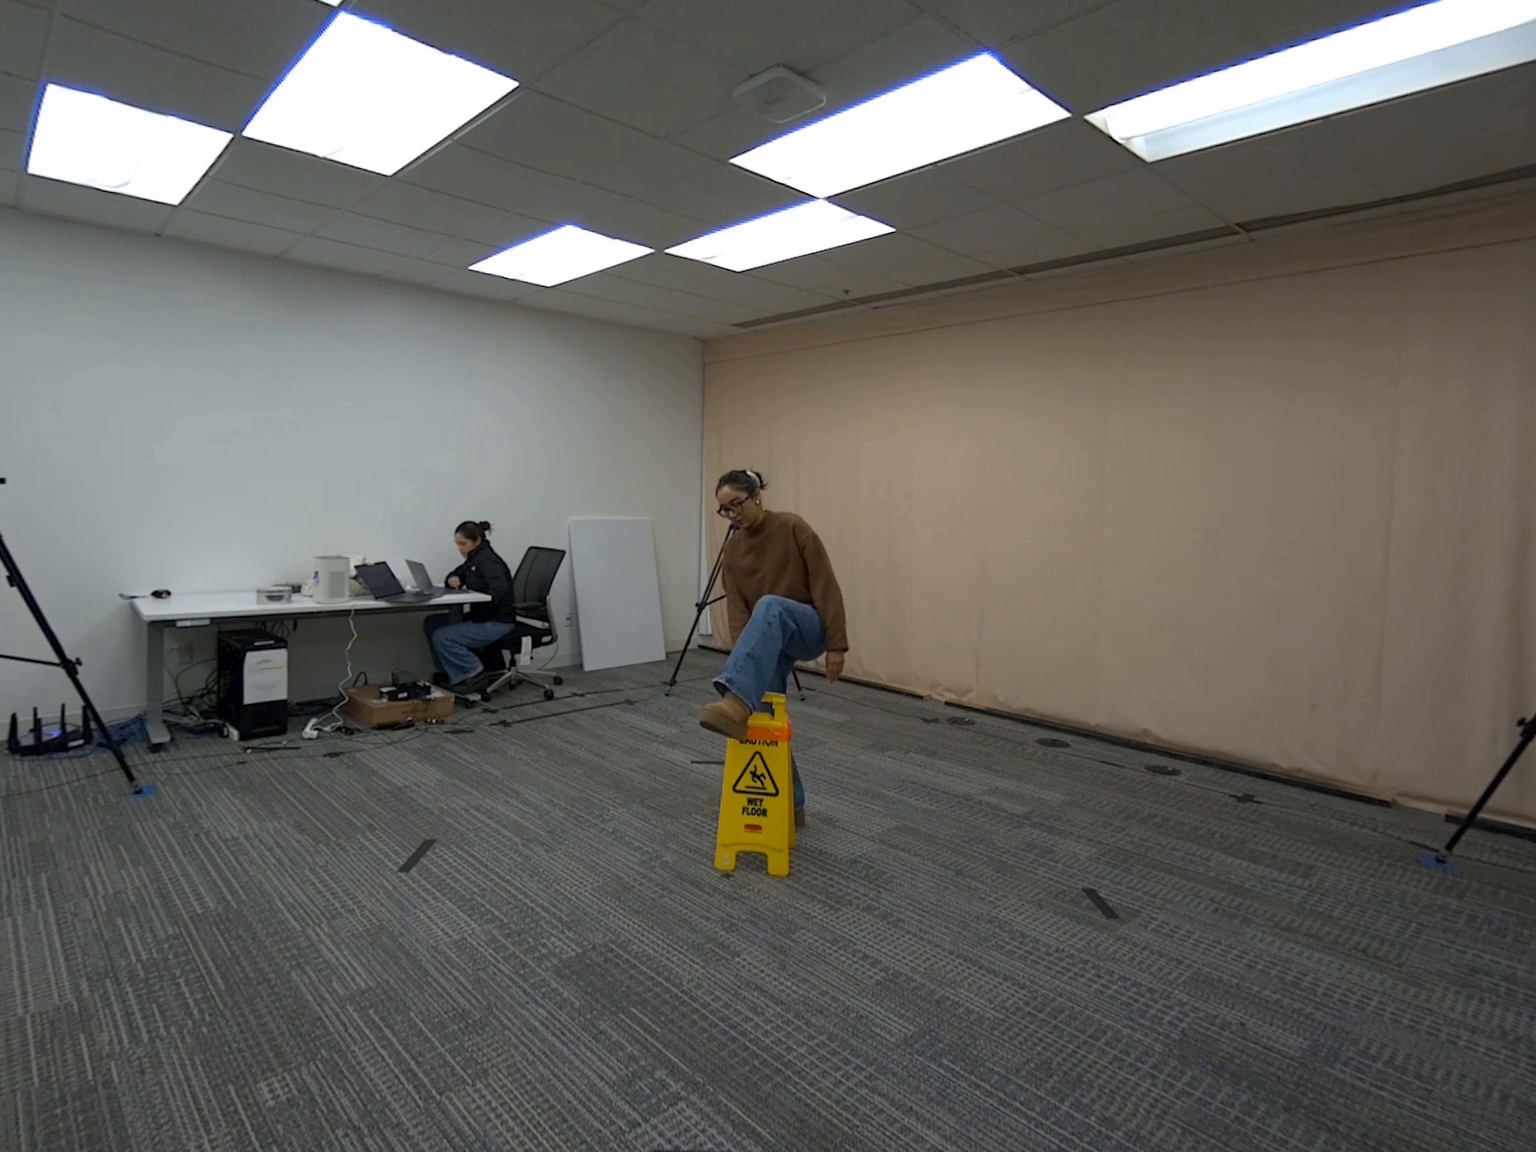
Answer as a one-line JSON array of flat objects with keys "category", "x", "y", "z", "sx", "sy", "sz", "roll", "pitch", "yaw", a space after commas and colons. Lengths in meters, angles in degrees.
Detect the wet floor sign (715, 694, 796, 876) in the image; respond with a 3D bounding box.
[{"category": "wet floor sign", "x": -0.053, "y": 0.779, "z": 3.259, "sx": 0.284, "sy": 0.645, "sz": 0.288, "roll": 2, "pitch": 2, "yaw": 9}]
